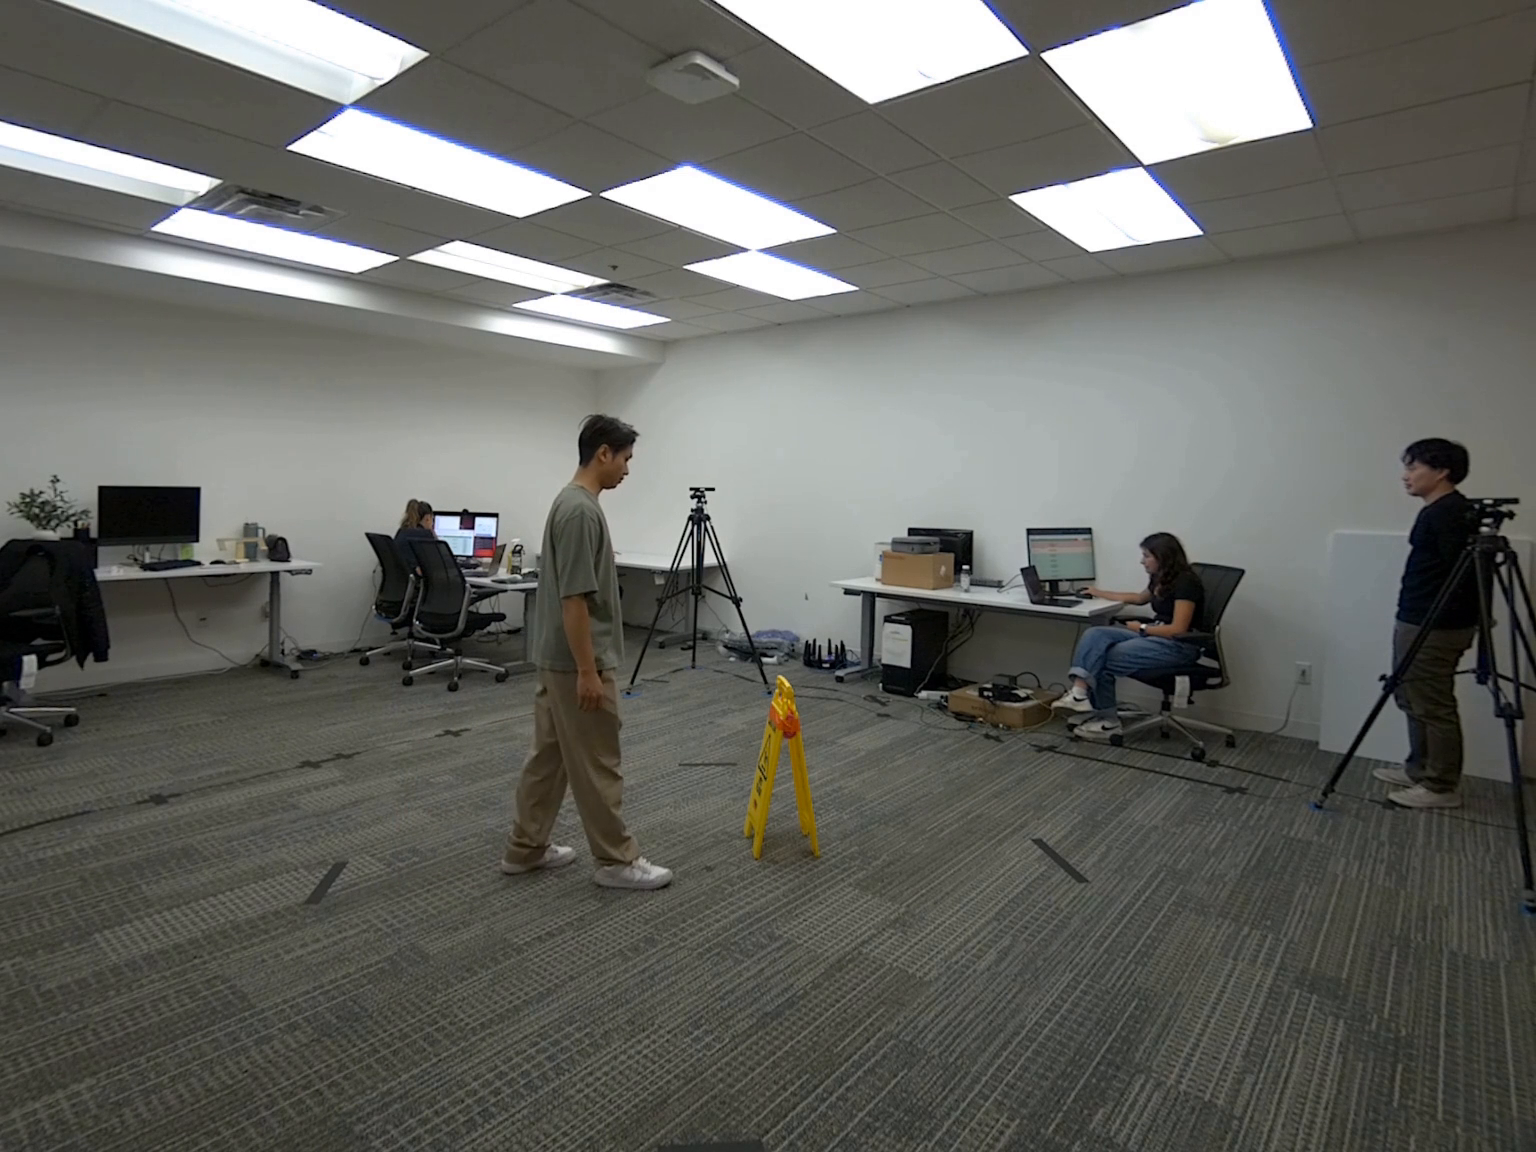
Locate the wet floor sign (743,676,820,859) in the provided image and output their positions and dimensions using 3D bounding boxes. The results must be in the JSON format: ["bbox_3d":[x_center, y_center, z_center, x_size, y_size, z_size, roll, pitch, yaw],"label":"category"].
[{"bbox_3d":[0.047,0.731,3.320,0.287,0.644,0.286,1,4,-9],"label":"wet floor sign"}]
